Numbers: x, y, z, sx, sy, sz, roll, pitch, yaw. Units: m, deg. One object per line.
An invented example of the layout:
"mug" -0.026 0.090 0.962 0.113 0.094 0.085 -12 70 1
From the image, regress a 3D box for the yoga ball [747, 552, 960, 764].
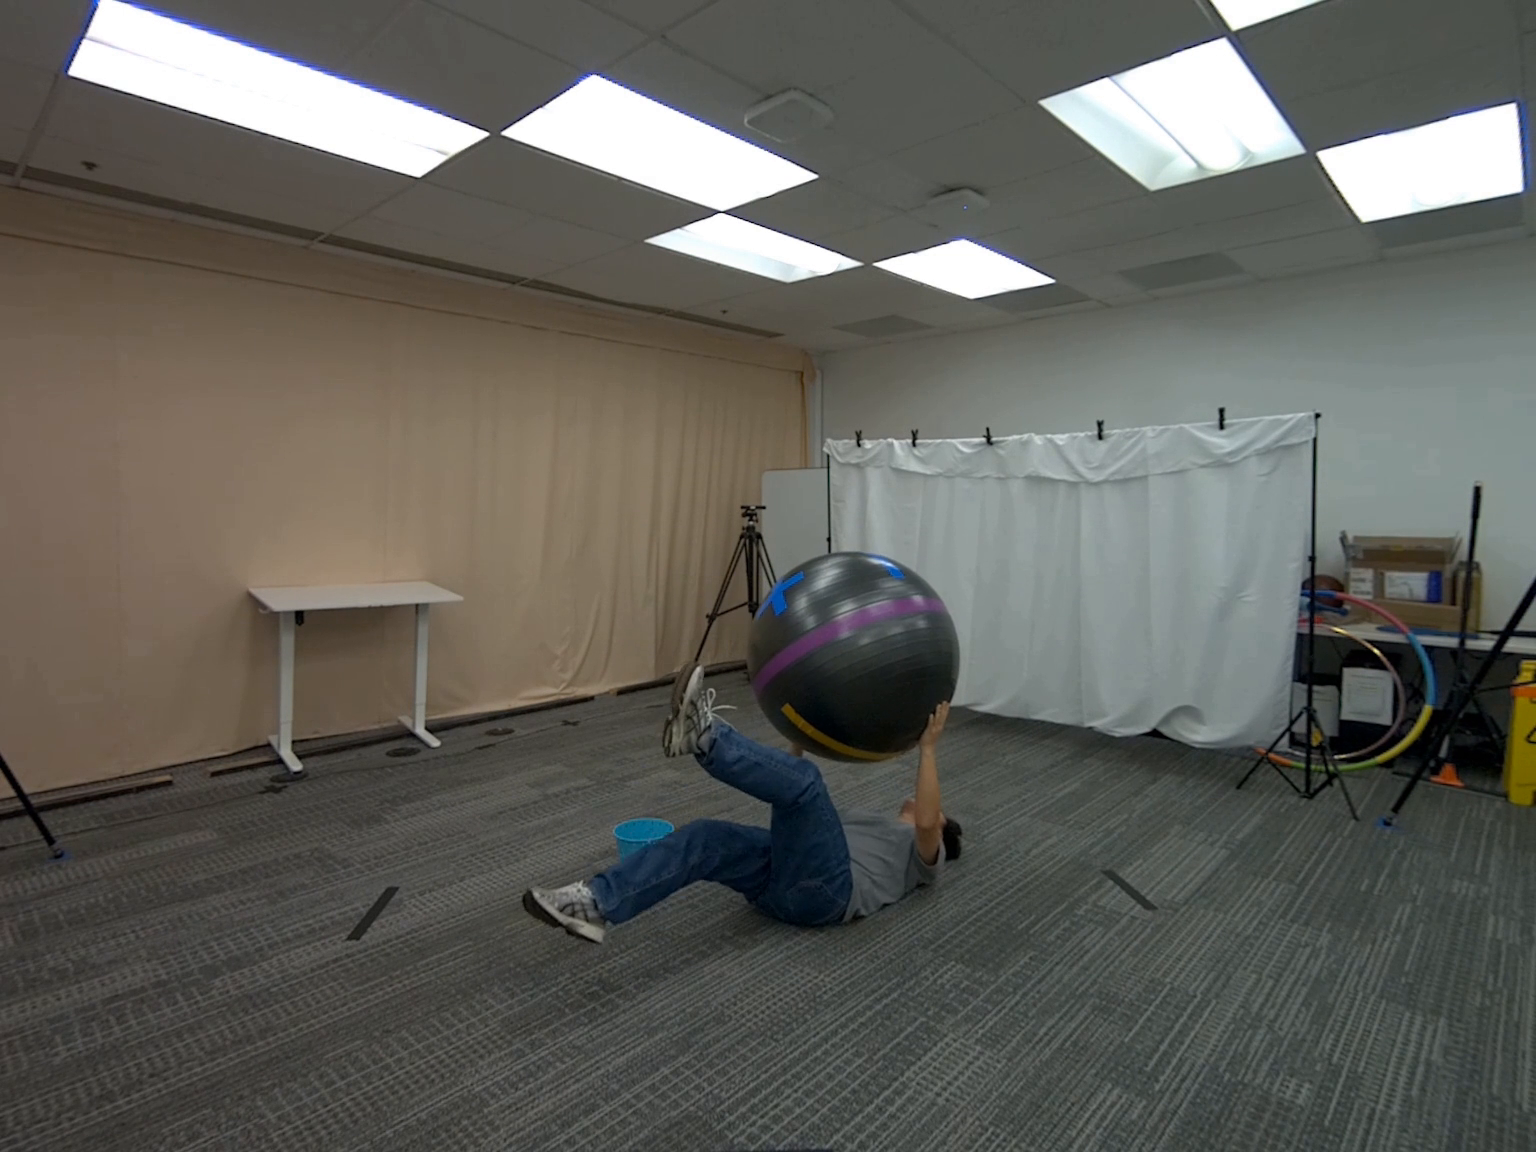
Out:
"yoga ball" 0.298 0.297 3.070 0.757 0.756 0.760 0 4 -2
